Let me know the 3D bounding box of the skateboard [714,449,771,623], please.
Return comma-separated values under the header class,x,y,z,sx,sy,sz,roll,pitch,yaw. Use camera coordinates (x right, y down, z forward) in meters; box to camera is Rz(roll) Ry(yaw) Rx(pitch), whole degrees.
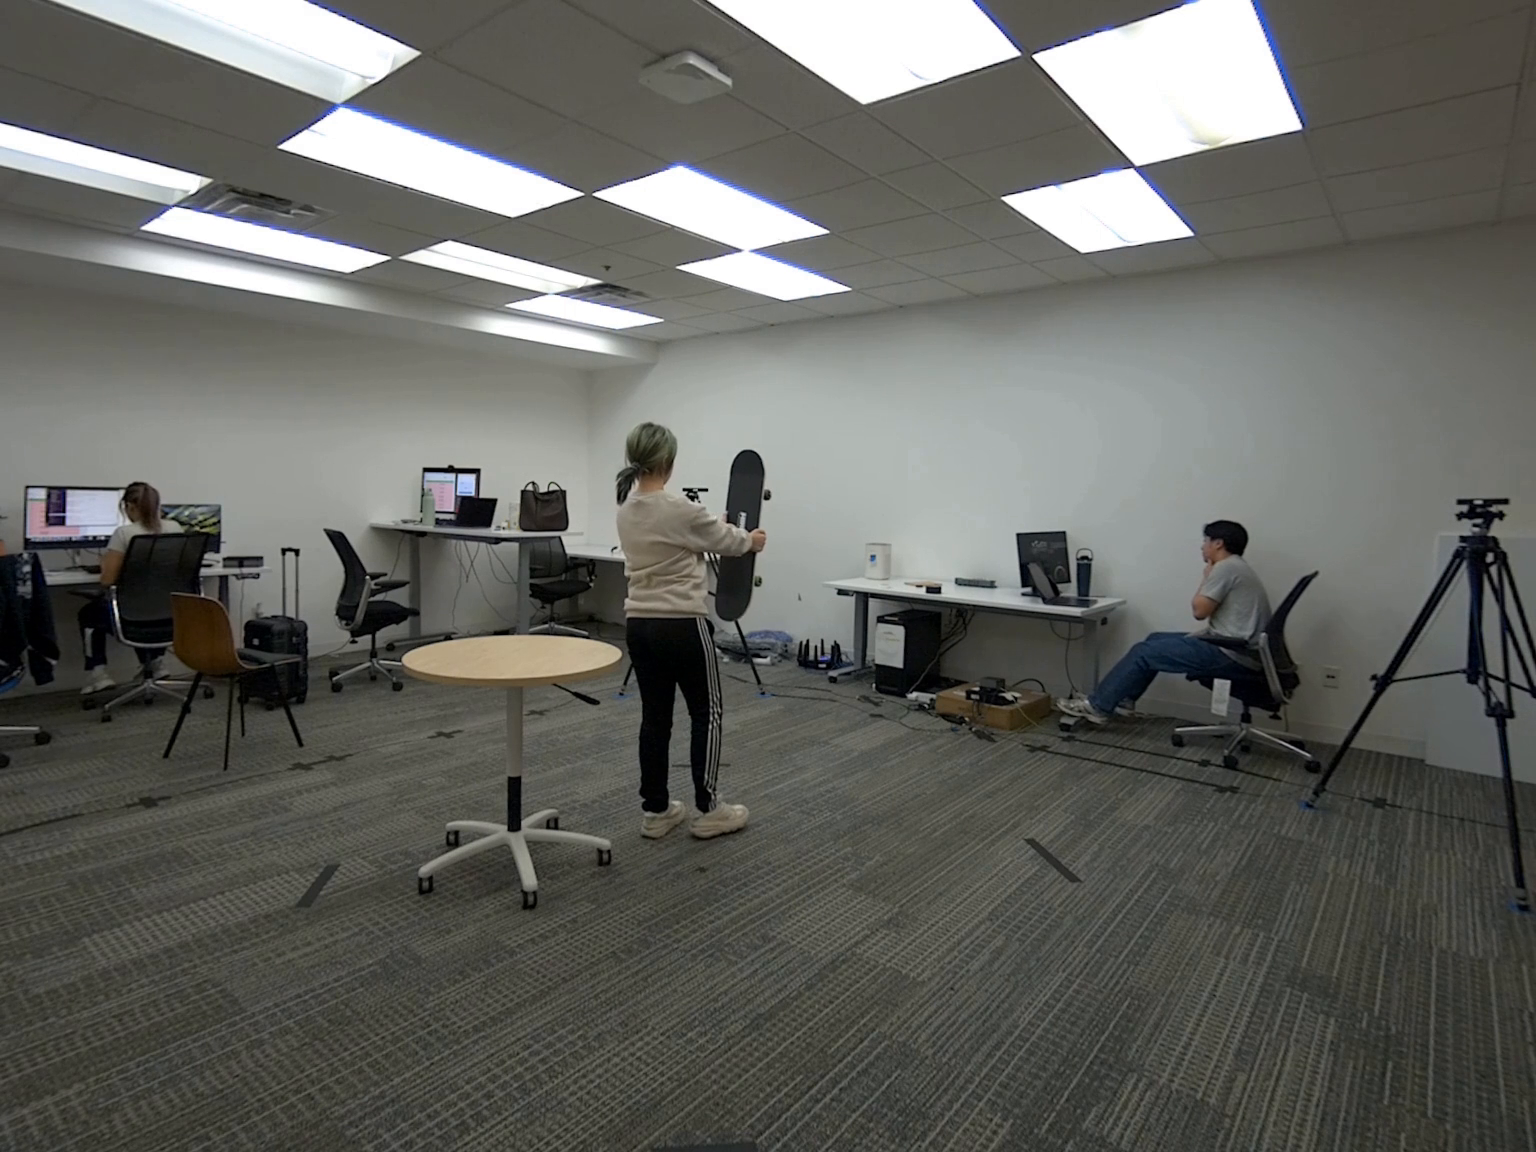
class,x,y,z,sx,sy,sz,roll,pitch,yaw
skateboard,-0.116,-0.183,3.824,0.199,0.794,0.106,-3,-16,33
